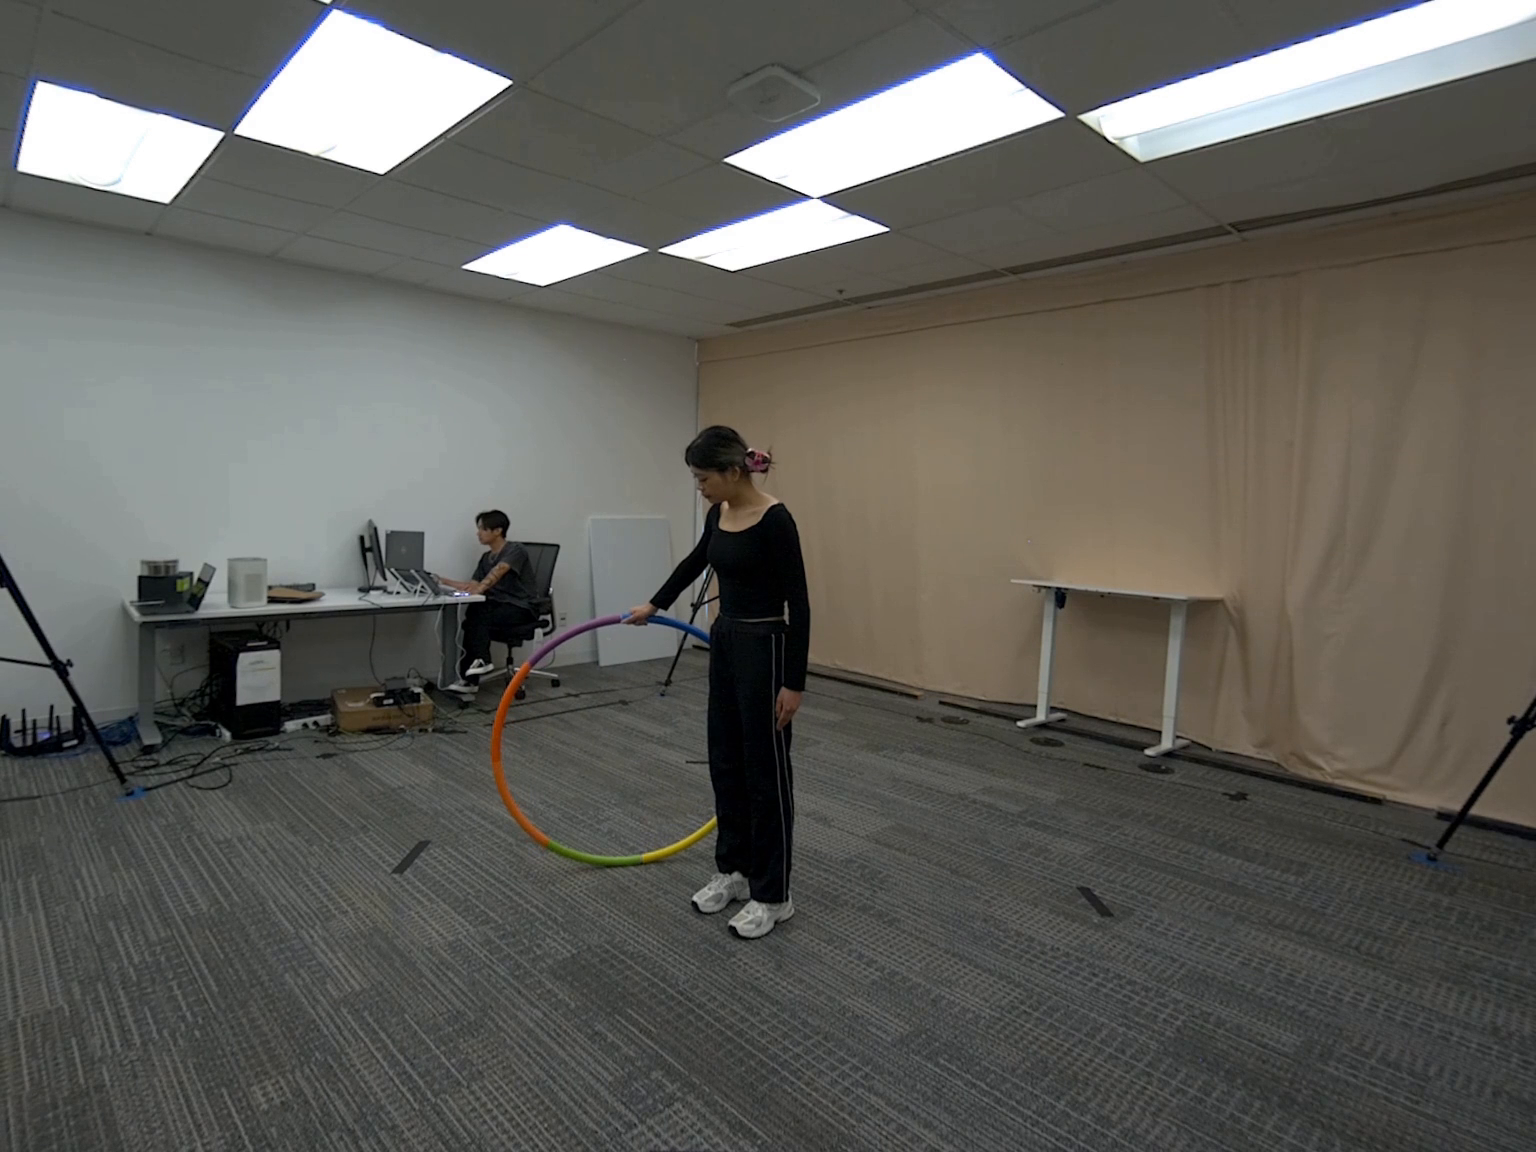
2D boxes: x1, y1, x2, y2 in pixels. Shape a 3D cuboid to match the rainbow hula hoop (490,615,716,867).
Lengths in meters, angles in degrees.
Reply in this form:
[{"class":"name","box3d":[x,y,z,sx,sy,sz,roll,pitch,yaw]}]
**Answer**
[{"class":"rainbow hula hoop","box3d":[-0.509,0.615,3.145,0.967,0.975,0.036,0,4,-15]}]
